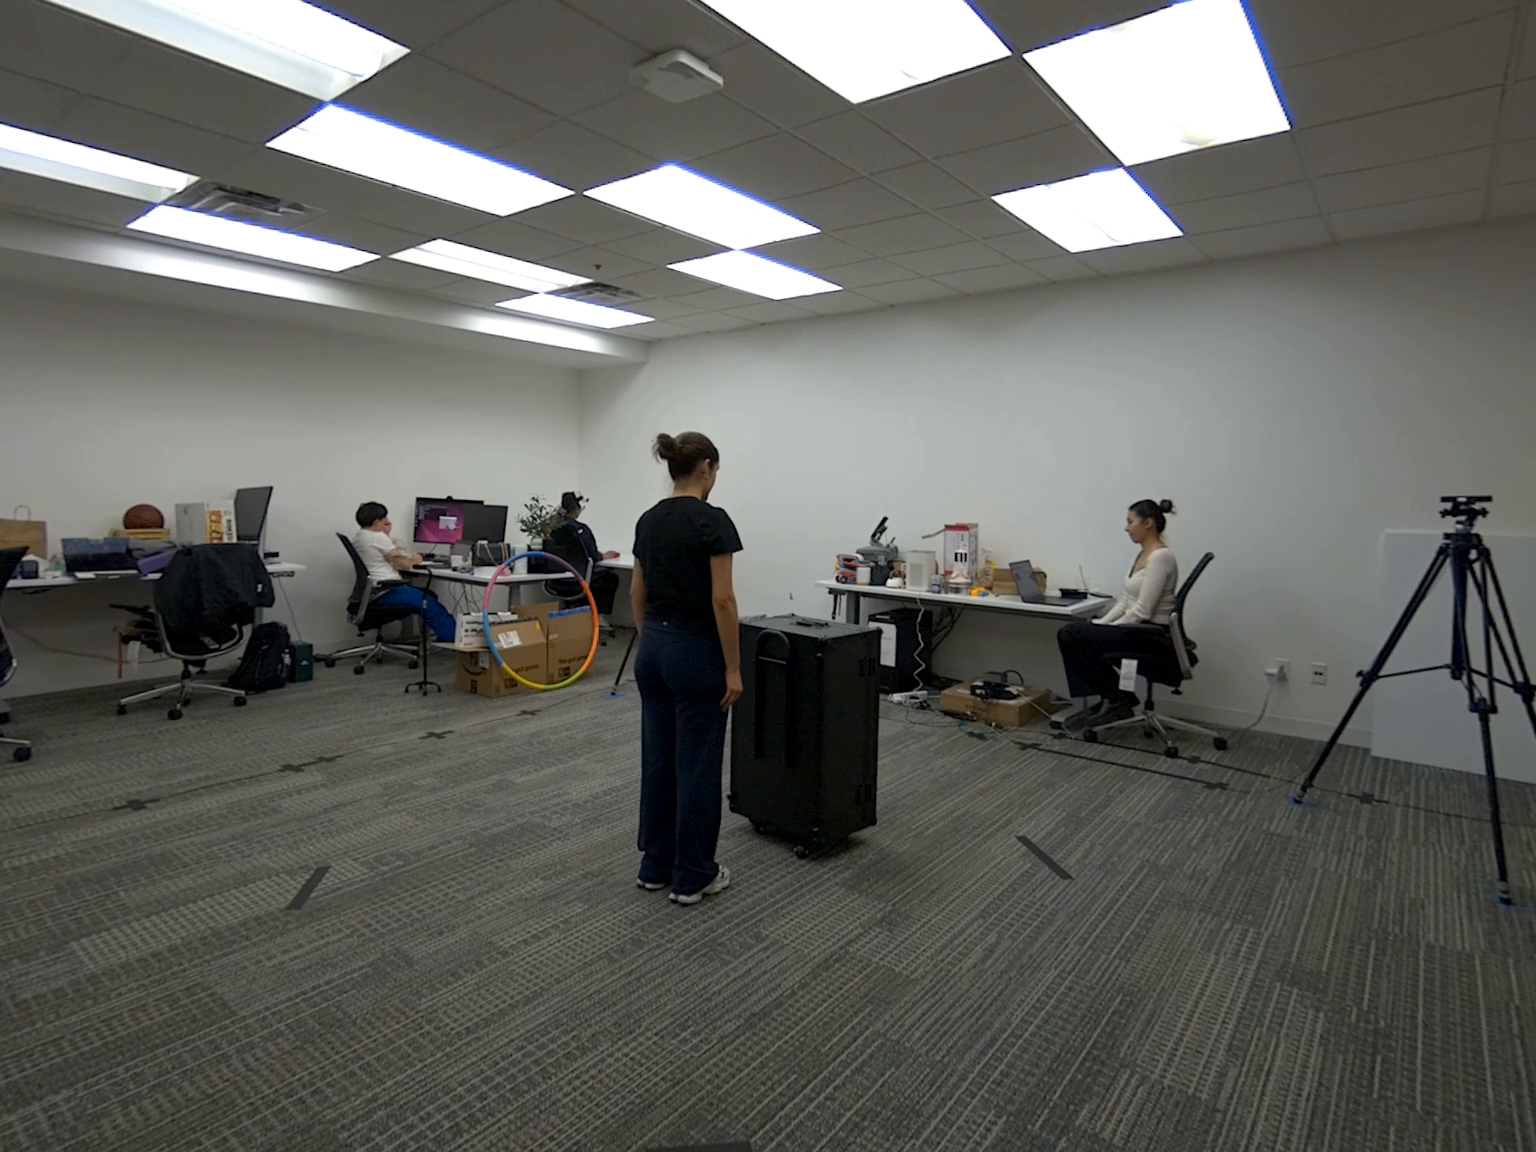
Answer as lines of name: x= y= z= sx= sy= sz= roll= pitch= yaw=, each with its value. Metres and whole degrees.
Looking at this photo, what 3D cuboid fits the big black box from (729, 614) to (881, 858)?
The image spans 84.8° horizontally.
big black box: x=0.155 y=0.557 z=3.414 sx=0.384 sy=0.858 sz=0.539 roll=-2 pitch=5 yaw=-44
